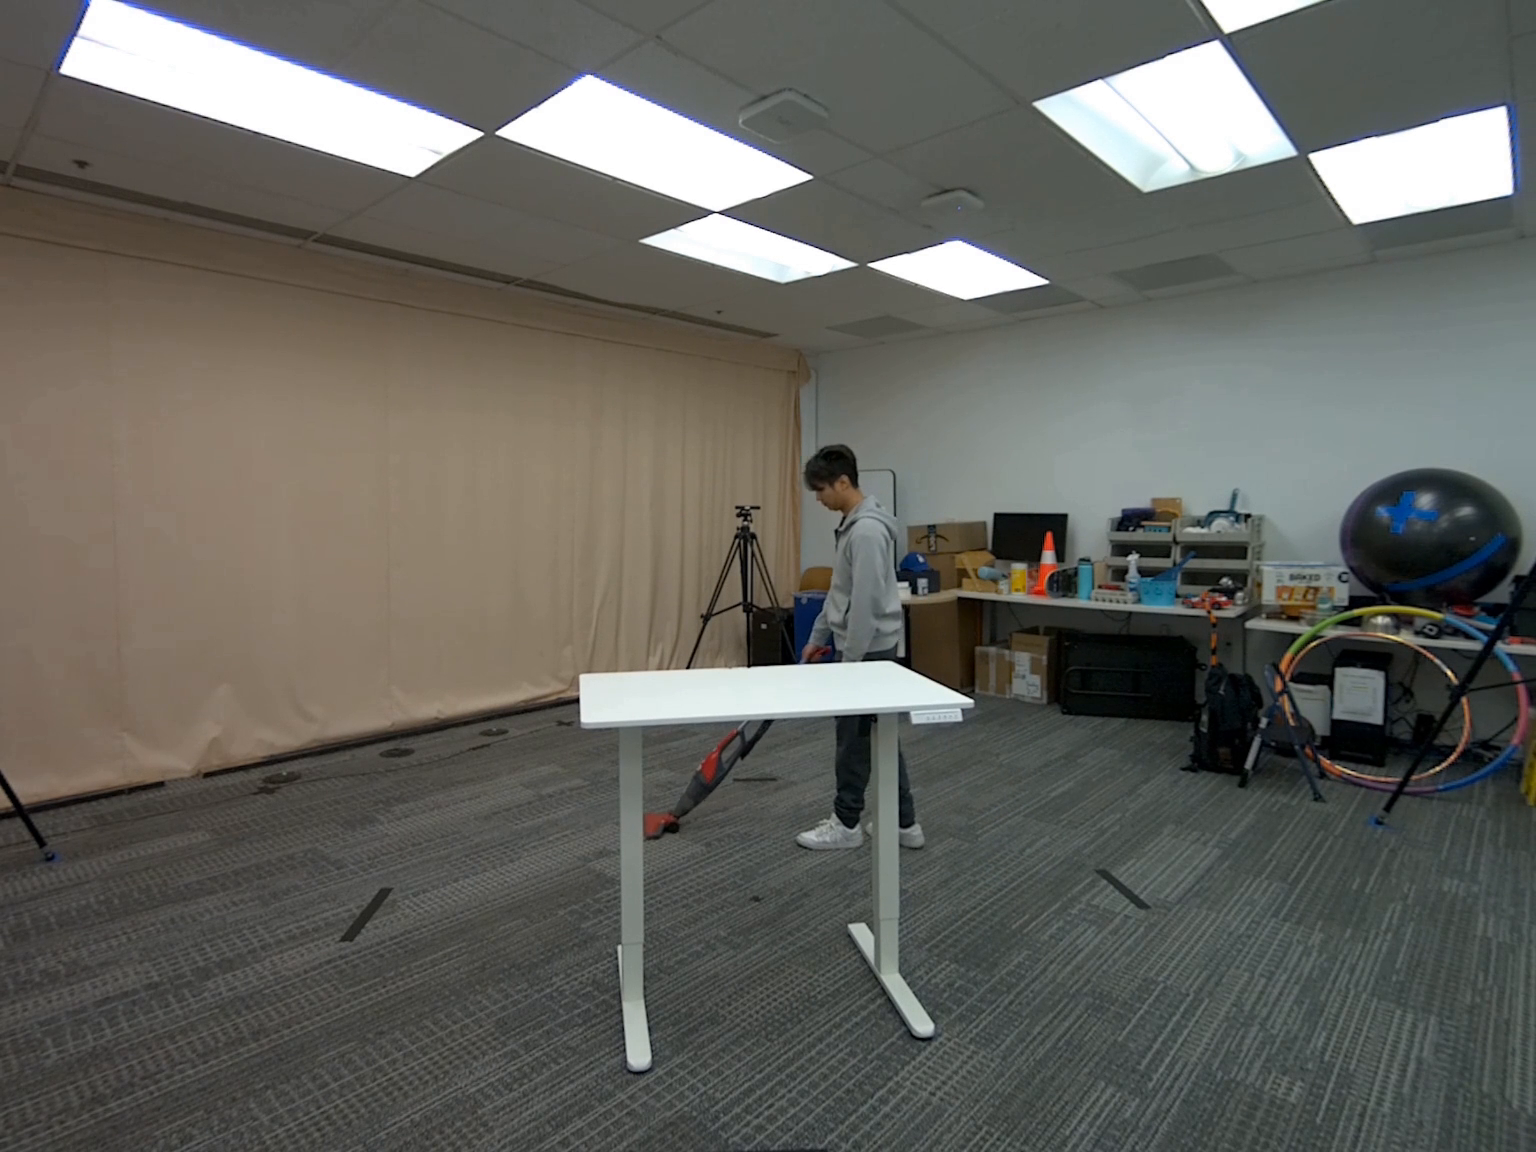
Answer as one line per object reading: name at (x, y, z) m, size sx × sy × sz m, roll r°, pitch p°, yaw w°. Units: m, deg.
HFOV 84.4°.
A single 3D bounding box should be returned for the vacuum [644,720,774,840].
vacuum at (-0.094, 0.707, 3.686) m, size 0.142 × 1.048 × 0.255 m, roll 43°, pitch -5°, yaw -9°
